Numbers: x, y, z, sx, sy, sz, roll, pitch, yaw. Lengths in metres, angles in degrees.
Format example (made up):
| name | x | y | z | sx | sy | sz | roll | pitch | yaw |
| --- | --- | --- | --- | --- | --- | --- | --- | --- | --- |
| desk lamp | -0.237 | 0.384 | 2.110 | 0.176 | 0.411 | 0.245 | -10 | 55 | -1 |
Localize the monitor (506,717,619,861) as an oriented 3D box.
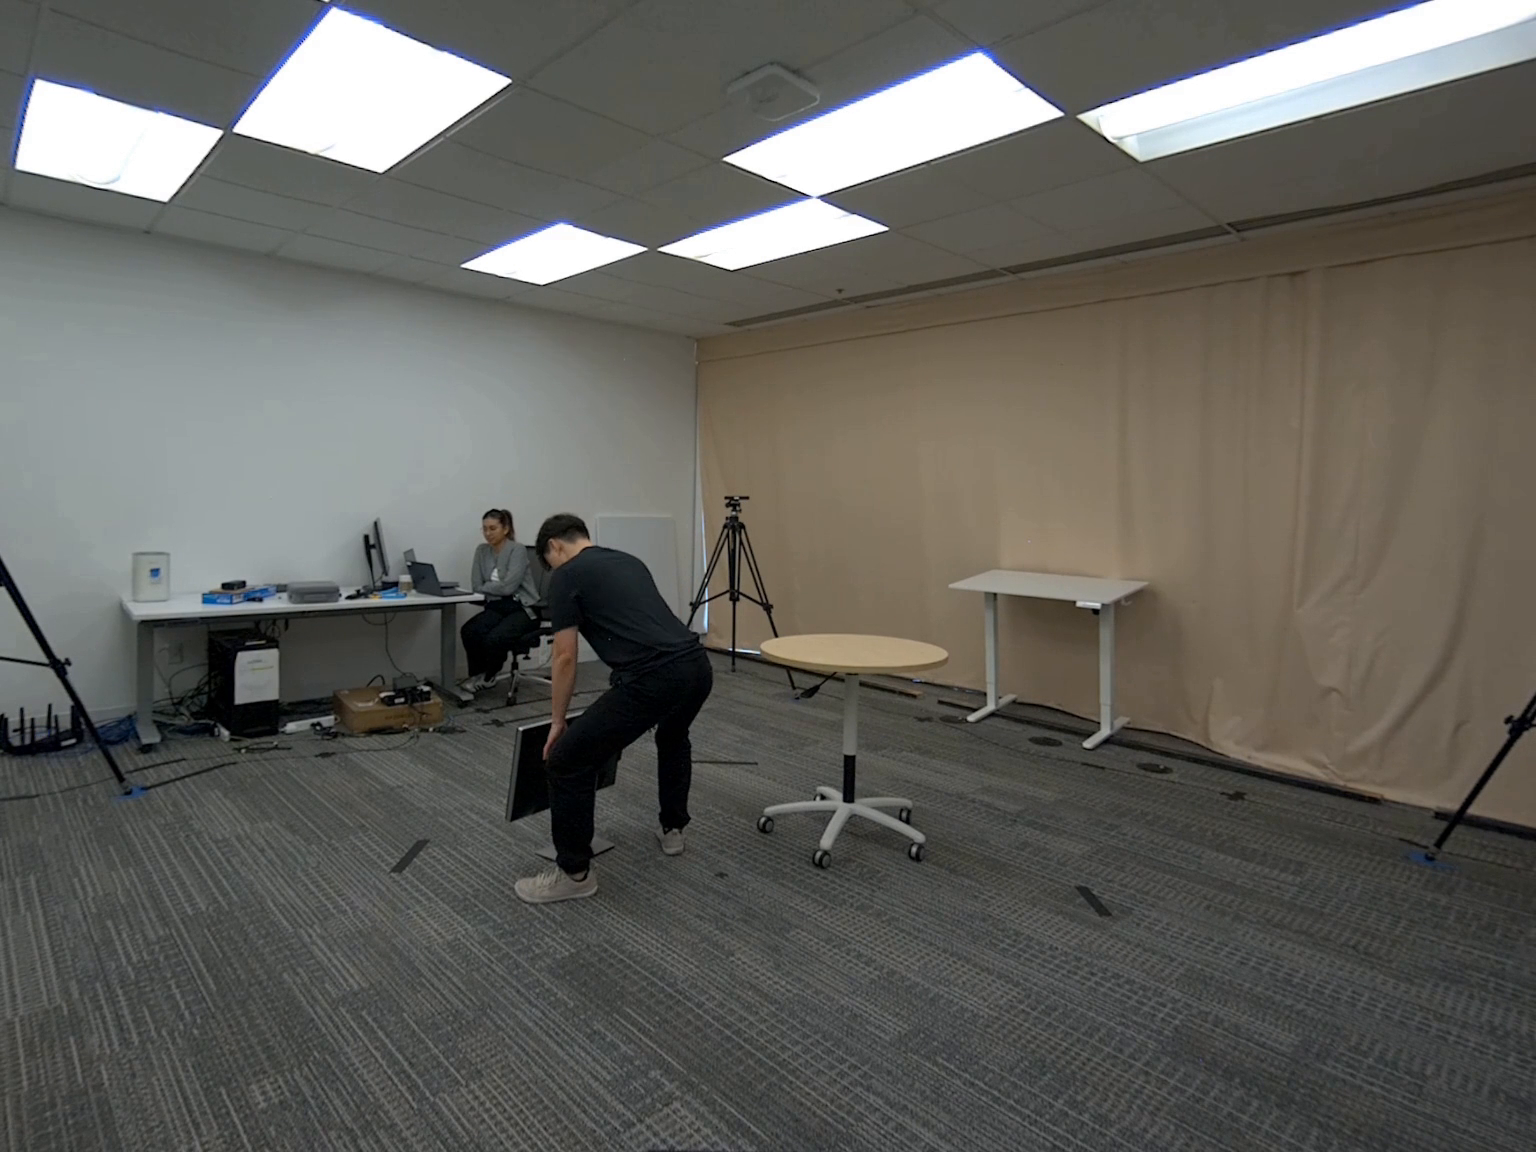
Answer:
| name | x | y | z | sx | sy | sz | roll | pitch | yaw |
| --- | --- | --- | --- | --- | --- | --- | --- | --- | --- |
| monitor | -0.755 | 0.815 | 3.272 | 0.191 | 0.522 | 0.528 | 1 | 3 | 32 |
